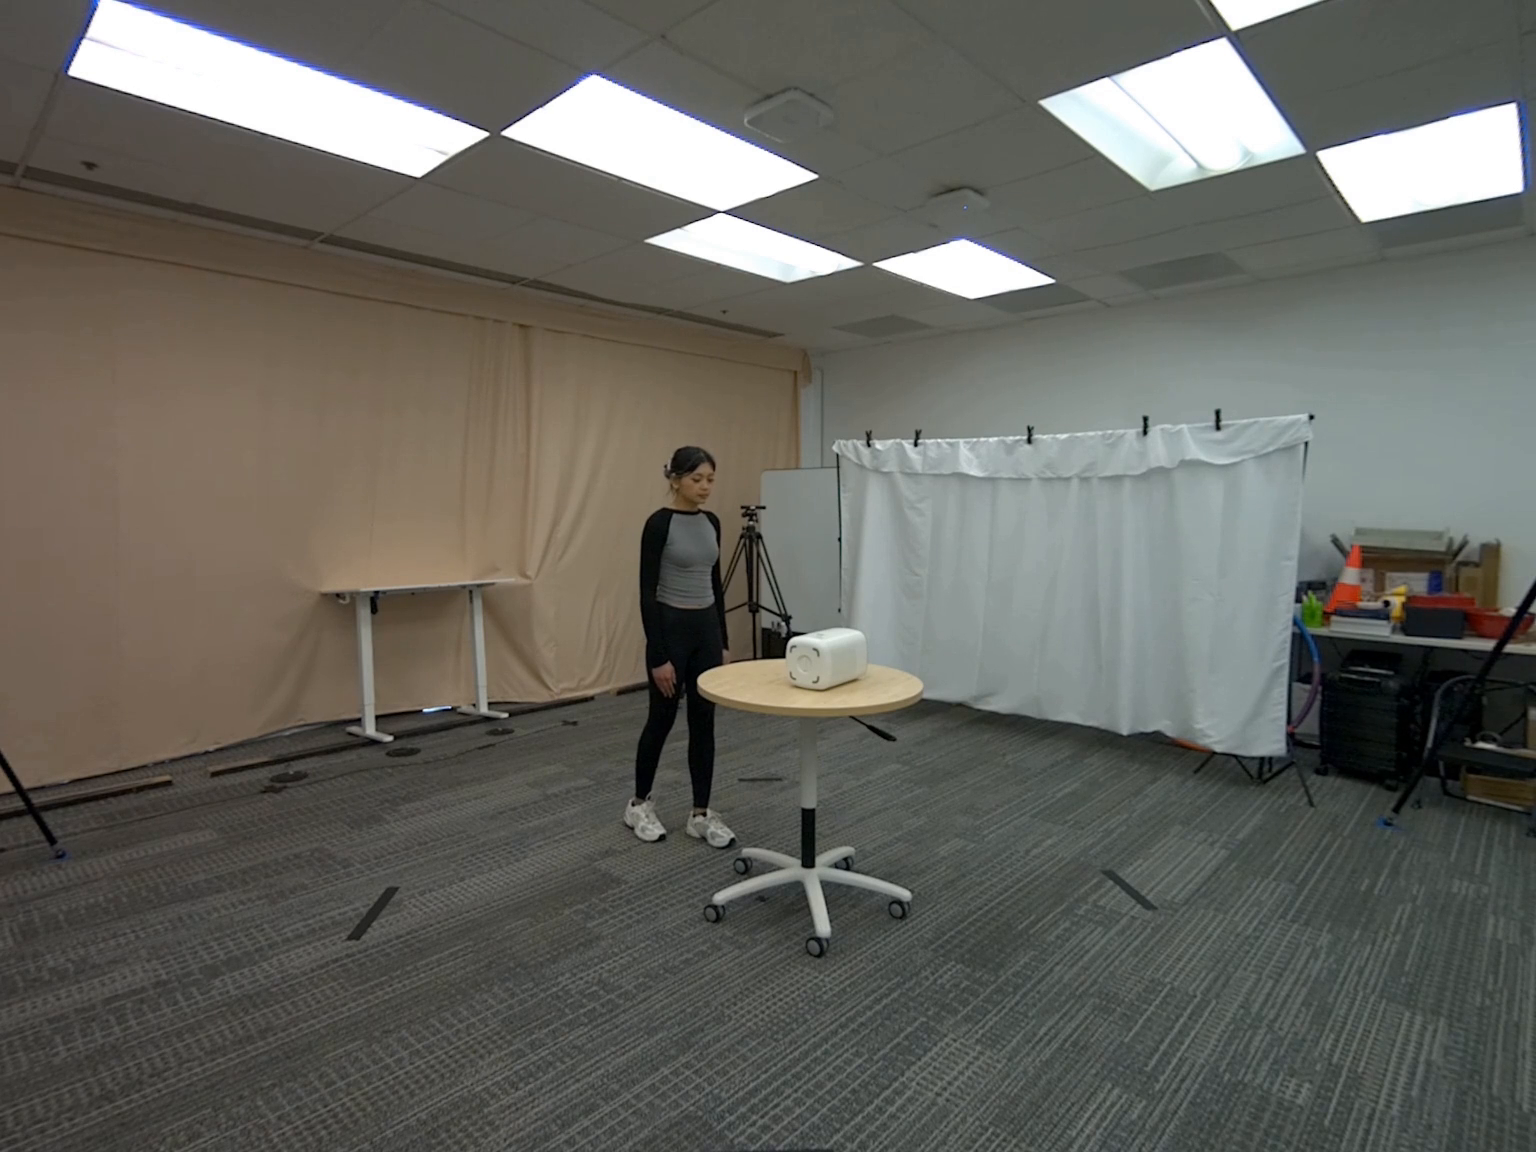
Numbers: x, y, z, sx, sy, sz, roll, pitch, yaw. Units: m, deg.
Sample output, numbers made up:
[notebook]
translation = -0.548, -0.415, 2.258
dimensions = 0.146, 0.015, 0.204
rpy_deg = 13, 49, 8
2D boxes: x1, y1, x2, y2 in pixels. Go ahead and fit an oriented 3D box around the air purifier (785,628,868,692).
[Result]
[air purifier]
translation = 0.199, 0.275, 2.832
dimensions = 0.177, 0.171, 0.257
rpy_deg = 5, 7, 38
